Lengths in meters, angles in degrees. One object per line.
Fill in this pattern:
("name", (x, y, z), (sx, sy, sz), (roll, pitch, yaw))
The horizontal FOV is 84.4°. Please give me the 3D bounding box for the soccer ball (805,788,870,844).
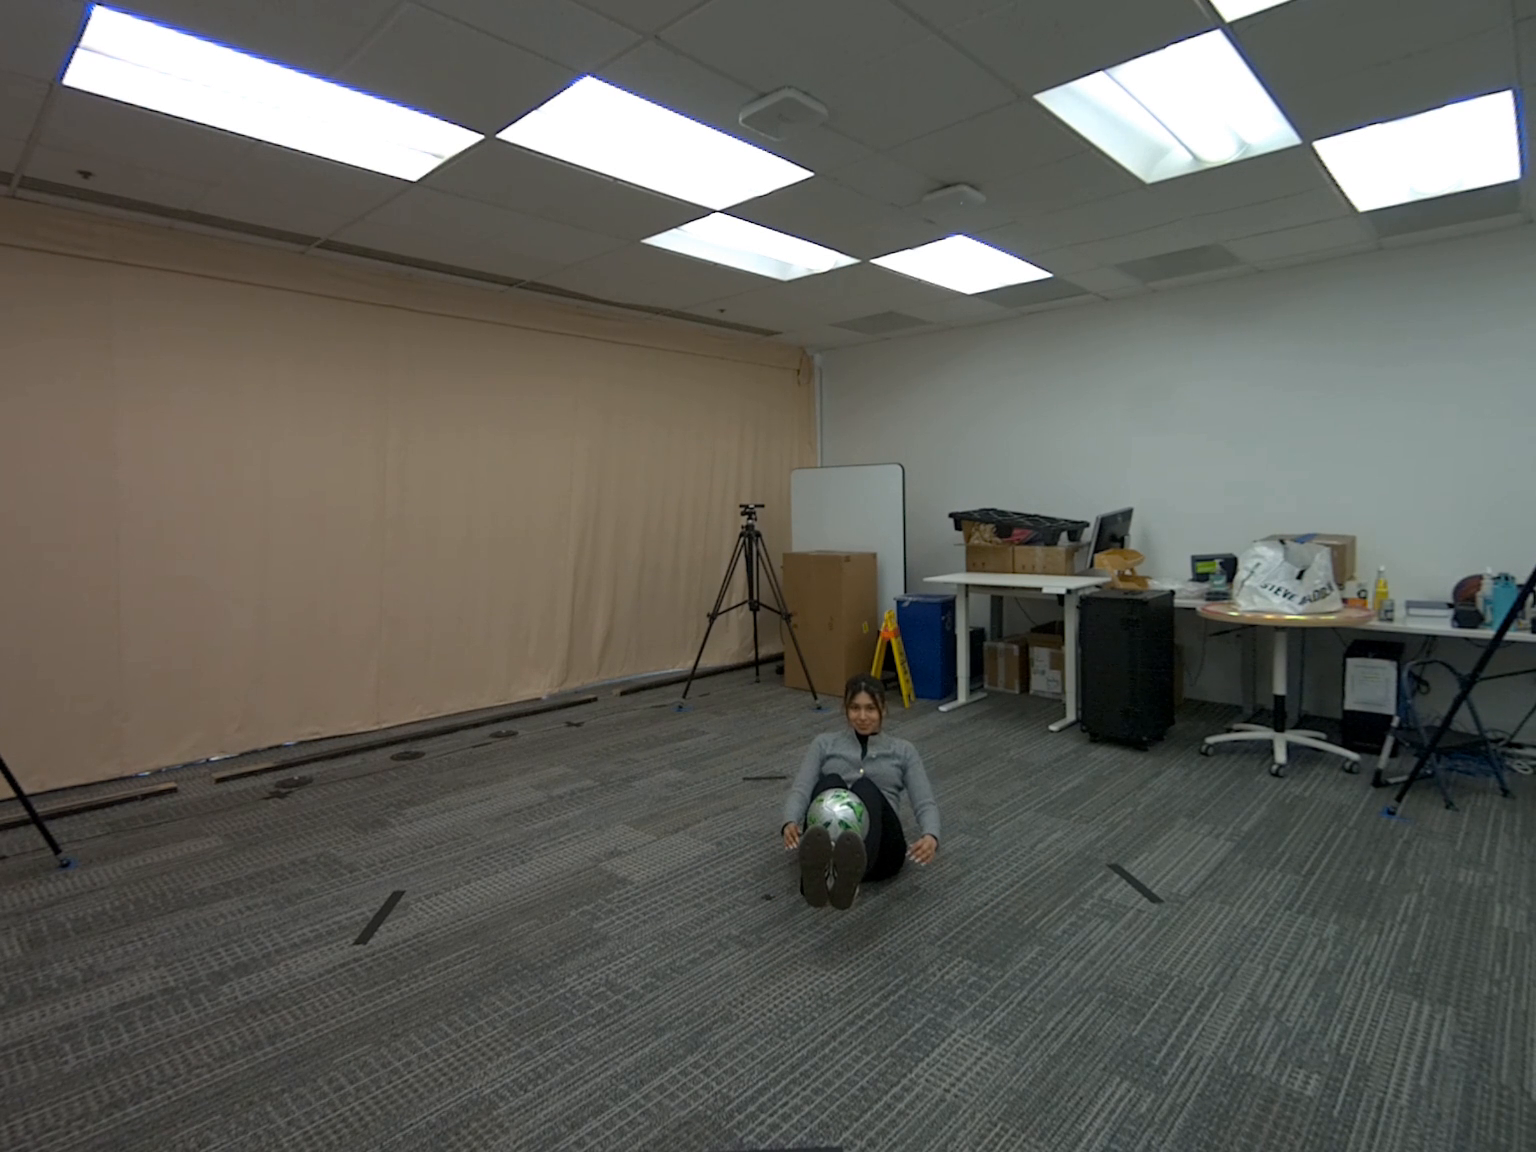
("soccer ball", (0.216, 0.744, 2.557), (0.187, 0.187, 0.188), (-1, 4, -2))
